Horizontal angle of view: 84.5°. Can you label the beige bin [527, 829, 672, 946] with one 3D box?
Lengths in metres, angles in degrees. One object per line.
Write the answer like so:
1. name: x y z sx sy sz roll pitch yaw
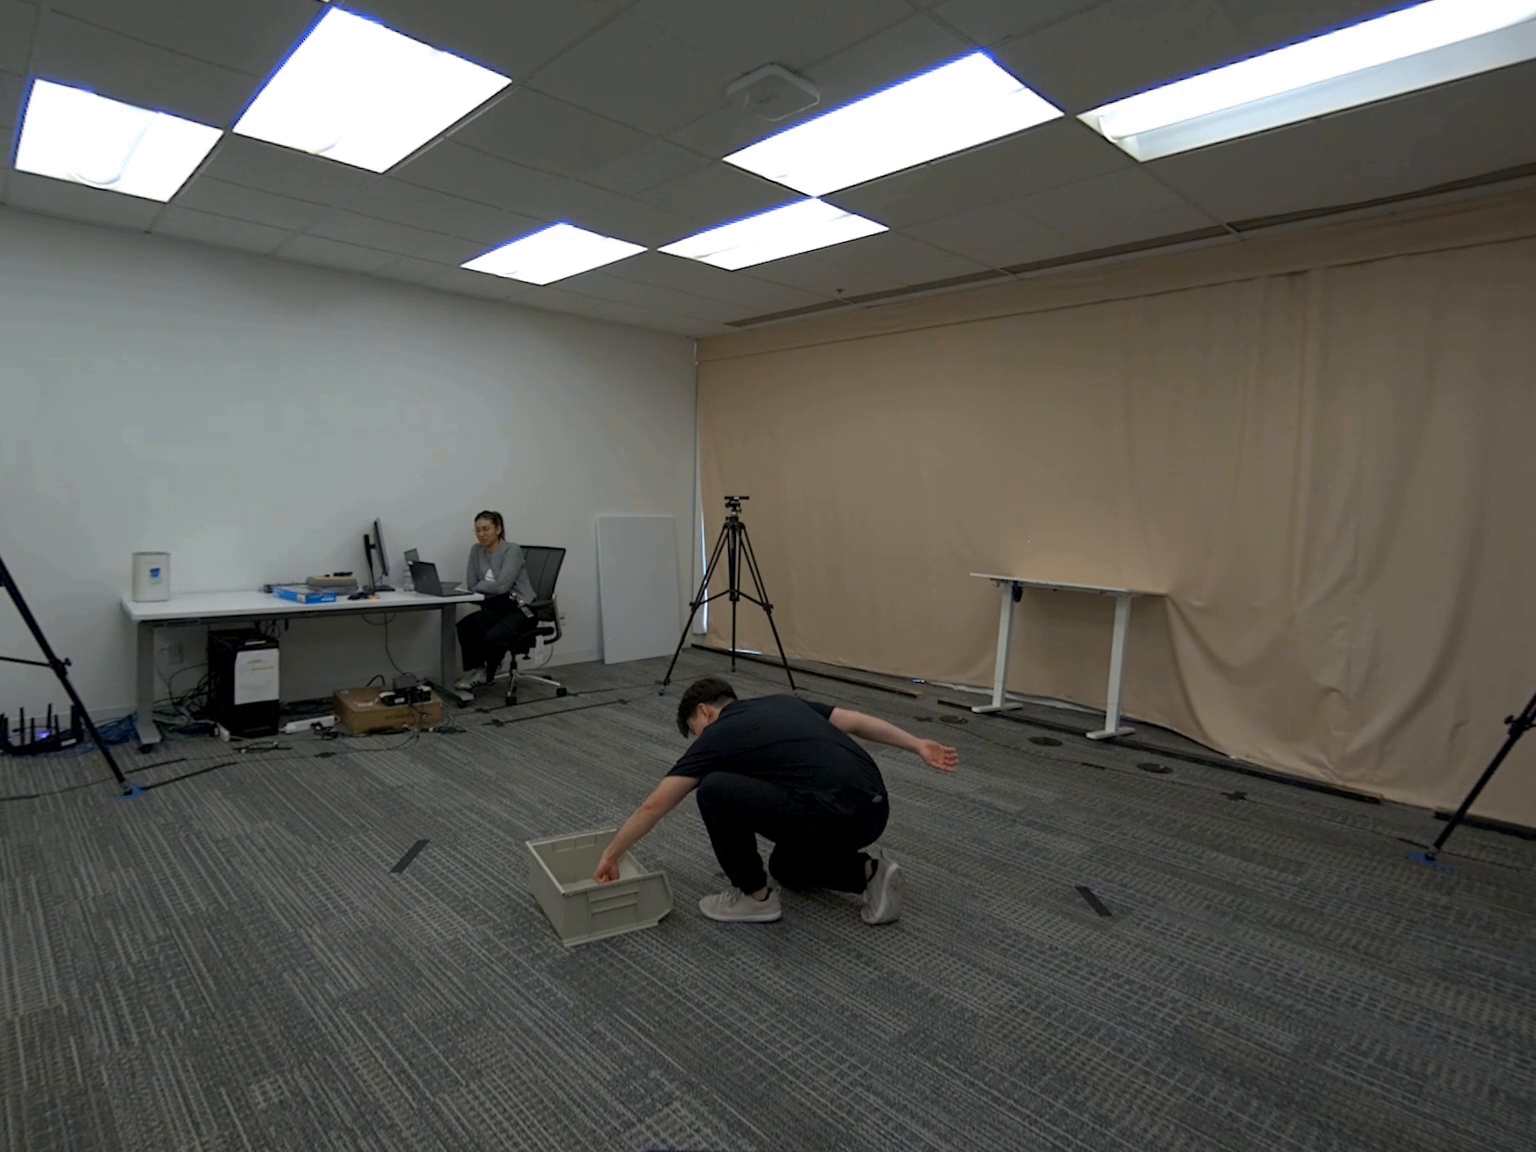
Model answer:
1. beige bin: -0.575 1.024 2.840 0.370 0.188 0.432 -2 7 -30
